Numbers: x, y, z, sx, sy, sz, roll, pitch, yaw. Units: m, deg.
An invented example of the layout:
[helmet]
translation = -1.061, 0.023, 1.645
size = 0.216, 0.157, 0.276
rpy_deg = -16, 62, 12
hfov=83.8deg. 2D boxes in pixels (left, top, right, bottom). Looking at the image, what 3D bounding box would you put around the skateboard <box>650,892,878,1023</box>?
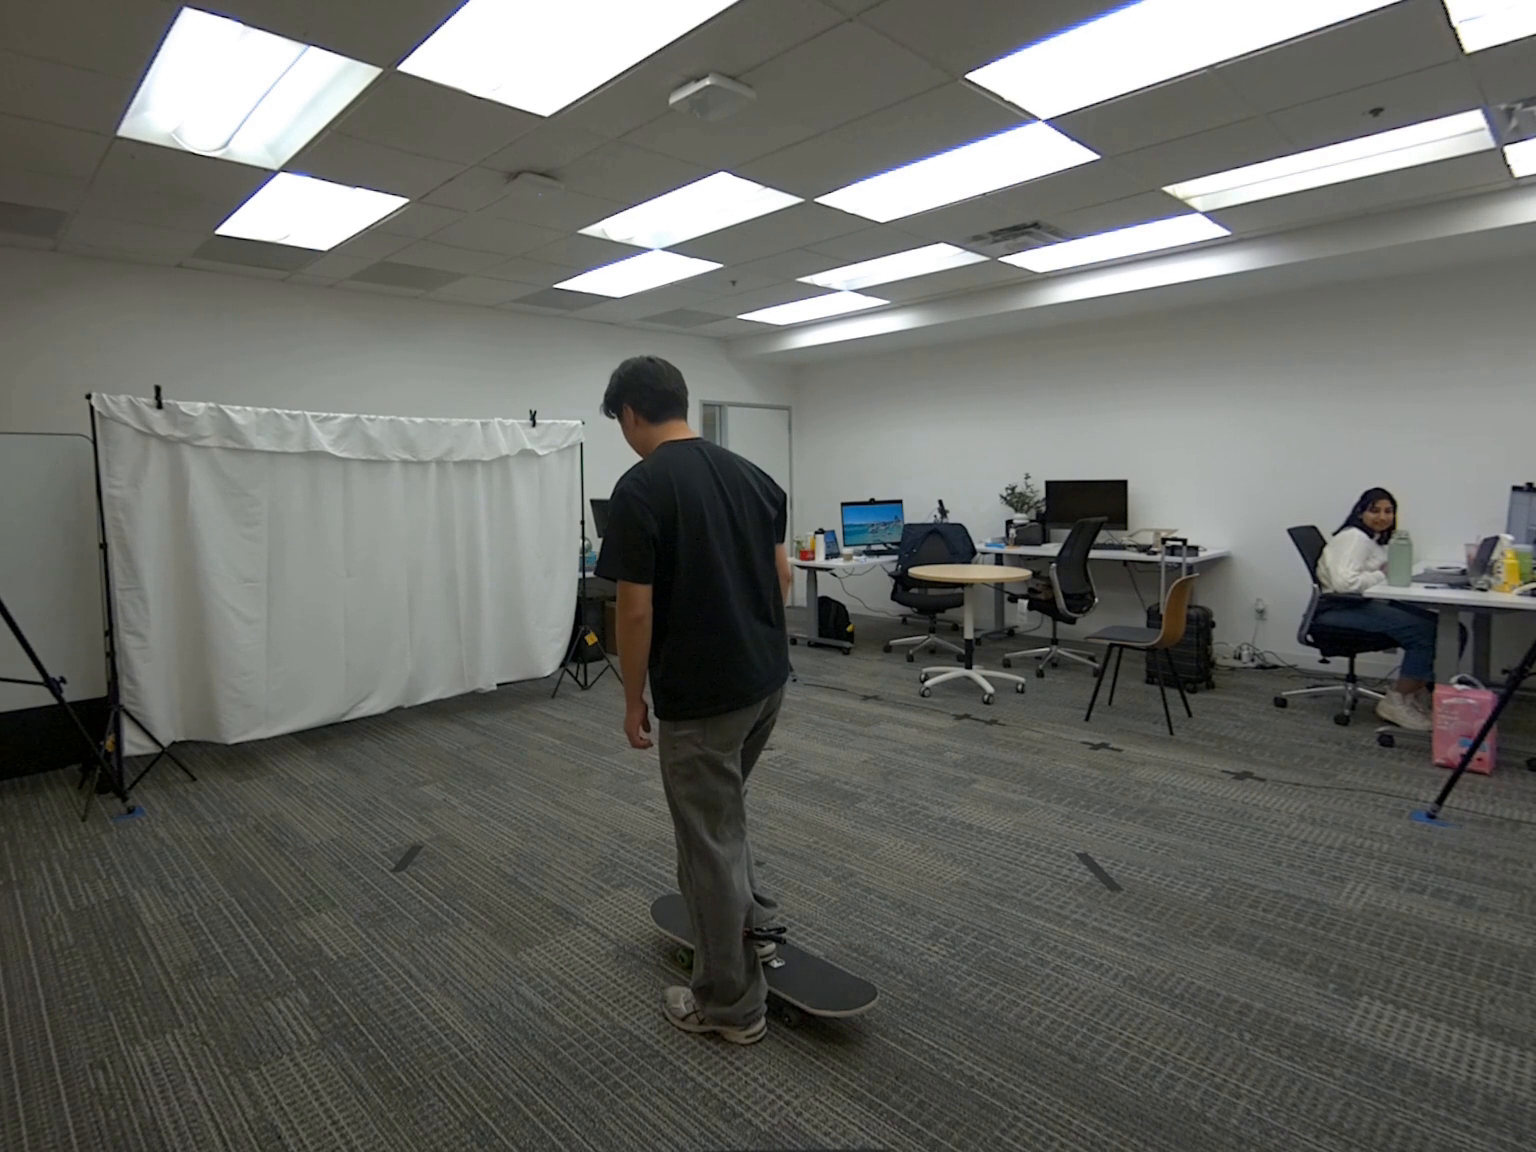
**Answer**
[skateboard]
translation = -0.036, 1.082, 2.385
size = 0.810, 0.110, 0.188
rpy_deg = 6, 8, 42
